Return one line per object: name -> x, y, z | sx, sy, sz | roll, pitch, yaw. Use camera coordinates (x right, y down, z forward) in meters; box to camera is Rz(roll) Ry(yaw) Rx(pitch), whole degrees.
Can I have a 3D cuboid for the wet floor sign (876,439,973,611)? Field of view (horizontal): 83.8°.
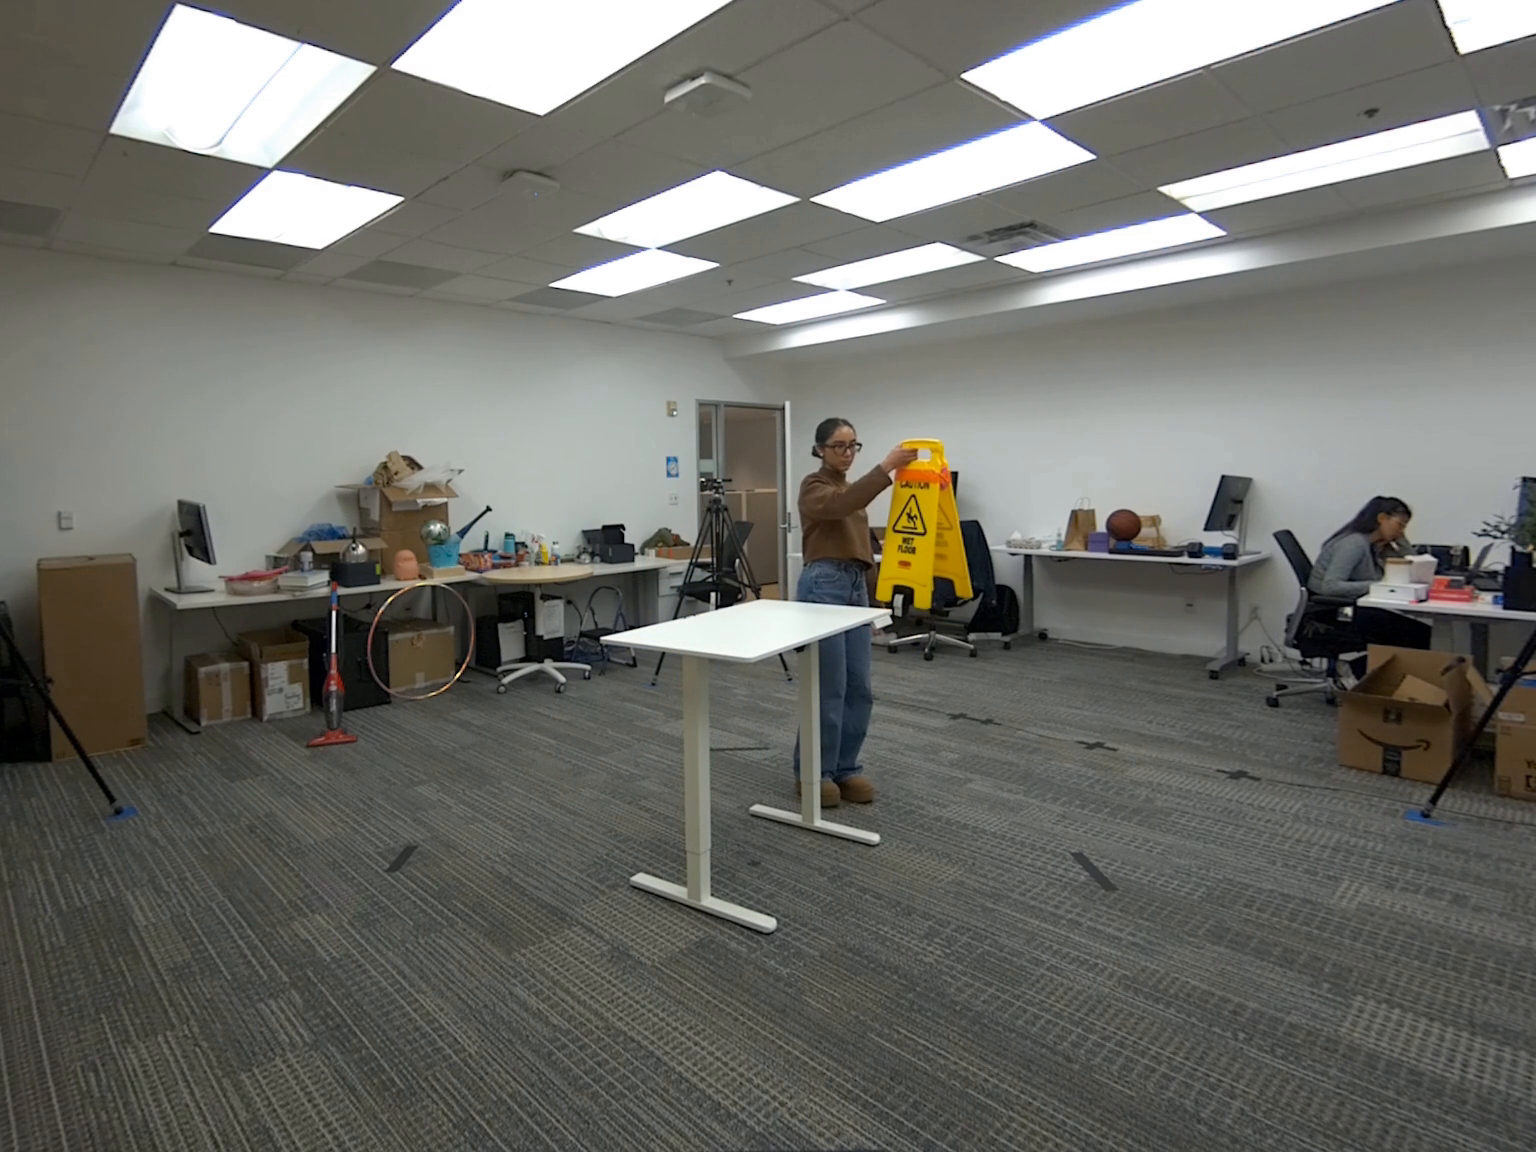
wet floor sign -> 0.624, -0.222, 3.440 | 0.283, 0.641, 0.291 | -9, 10, -36
